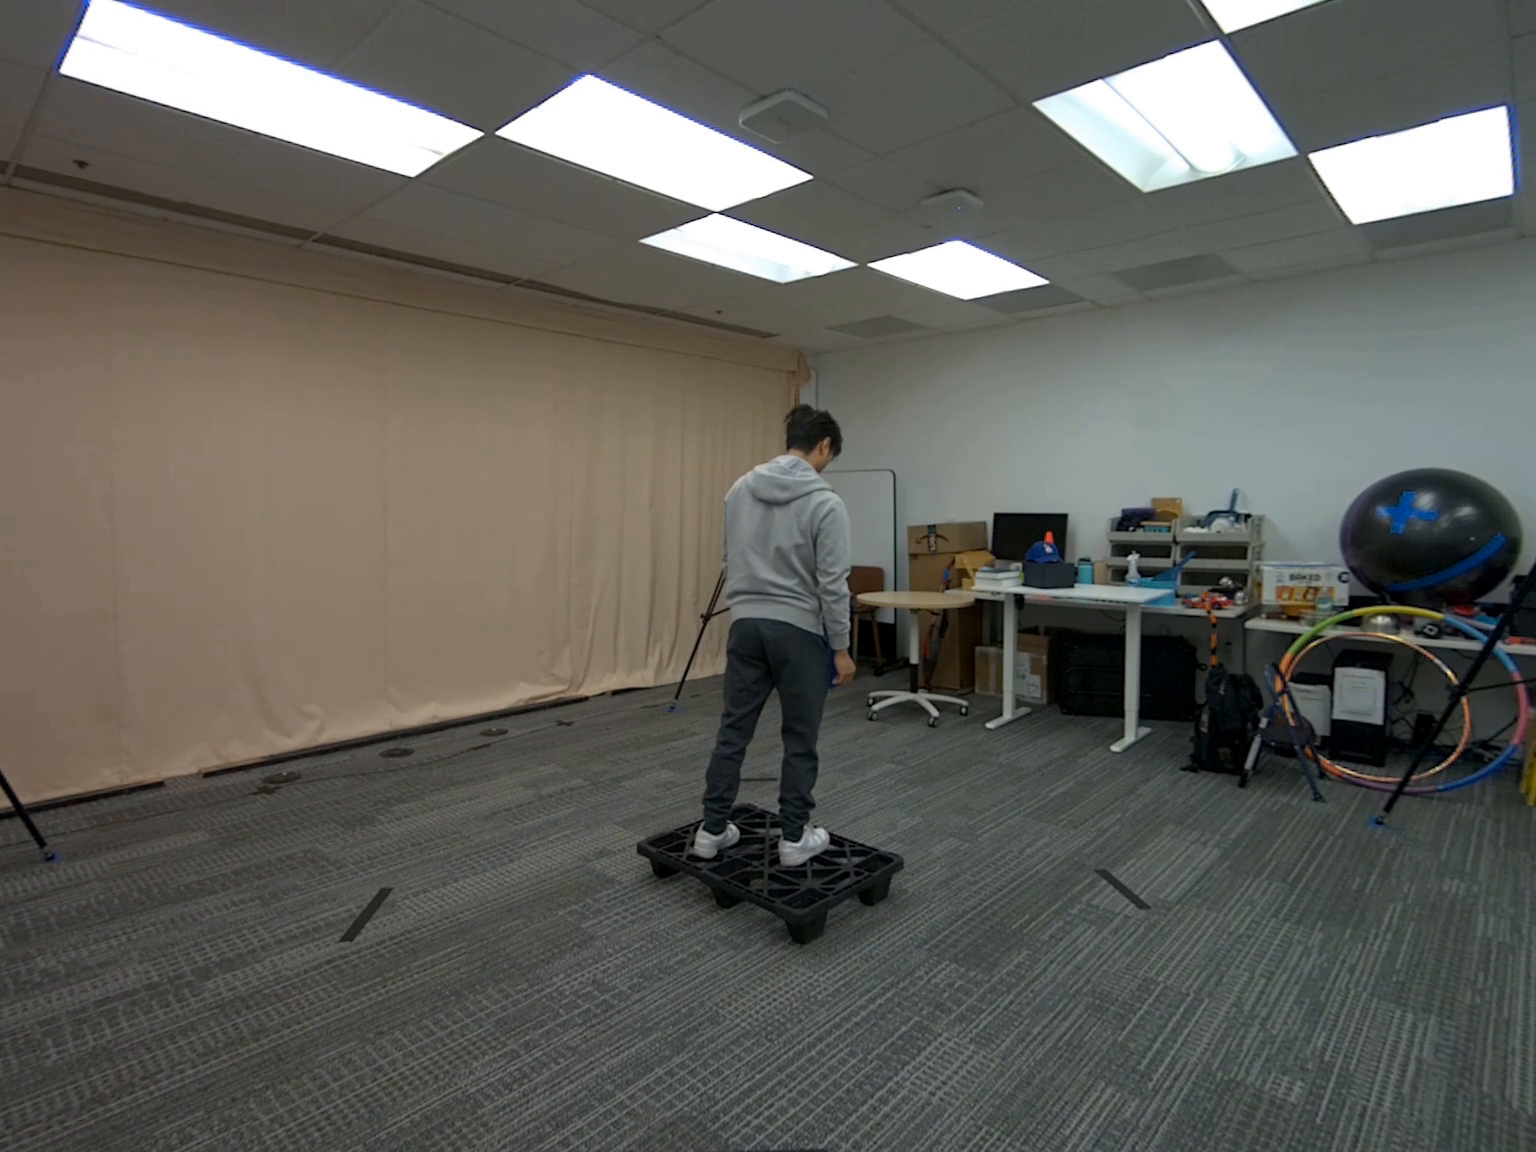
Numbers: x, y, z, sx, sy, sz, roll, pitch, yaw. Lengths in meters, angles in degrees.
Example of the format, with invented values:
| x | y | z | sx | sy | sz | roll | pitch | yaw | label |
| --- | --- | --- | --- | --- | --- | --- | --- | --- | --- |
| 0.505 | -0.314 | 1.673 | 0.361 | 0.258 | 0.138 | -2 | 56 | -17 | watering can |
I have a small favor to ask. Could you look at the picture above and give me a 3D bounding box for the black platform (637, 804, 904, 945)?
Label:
| x | y | z | sx | sy | sz | roll | pitch | yaw | label |
| --- | --- | --- | --- | --- | --- | --- | --- | --- | --- |
| -0.002 | 1.068 | 3.079 | 0.832 | 0.143 | 0.587 | 4 | 7 | 44 | black platform |
